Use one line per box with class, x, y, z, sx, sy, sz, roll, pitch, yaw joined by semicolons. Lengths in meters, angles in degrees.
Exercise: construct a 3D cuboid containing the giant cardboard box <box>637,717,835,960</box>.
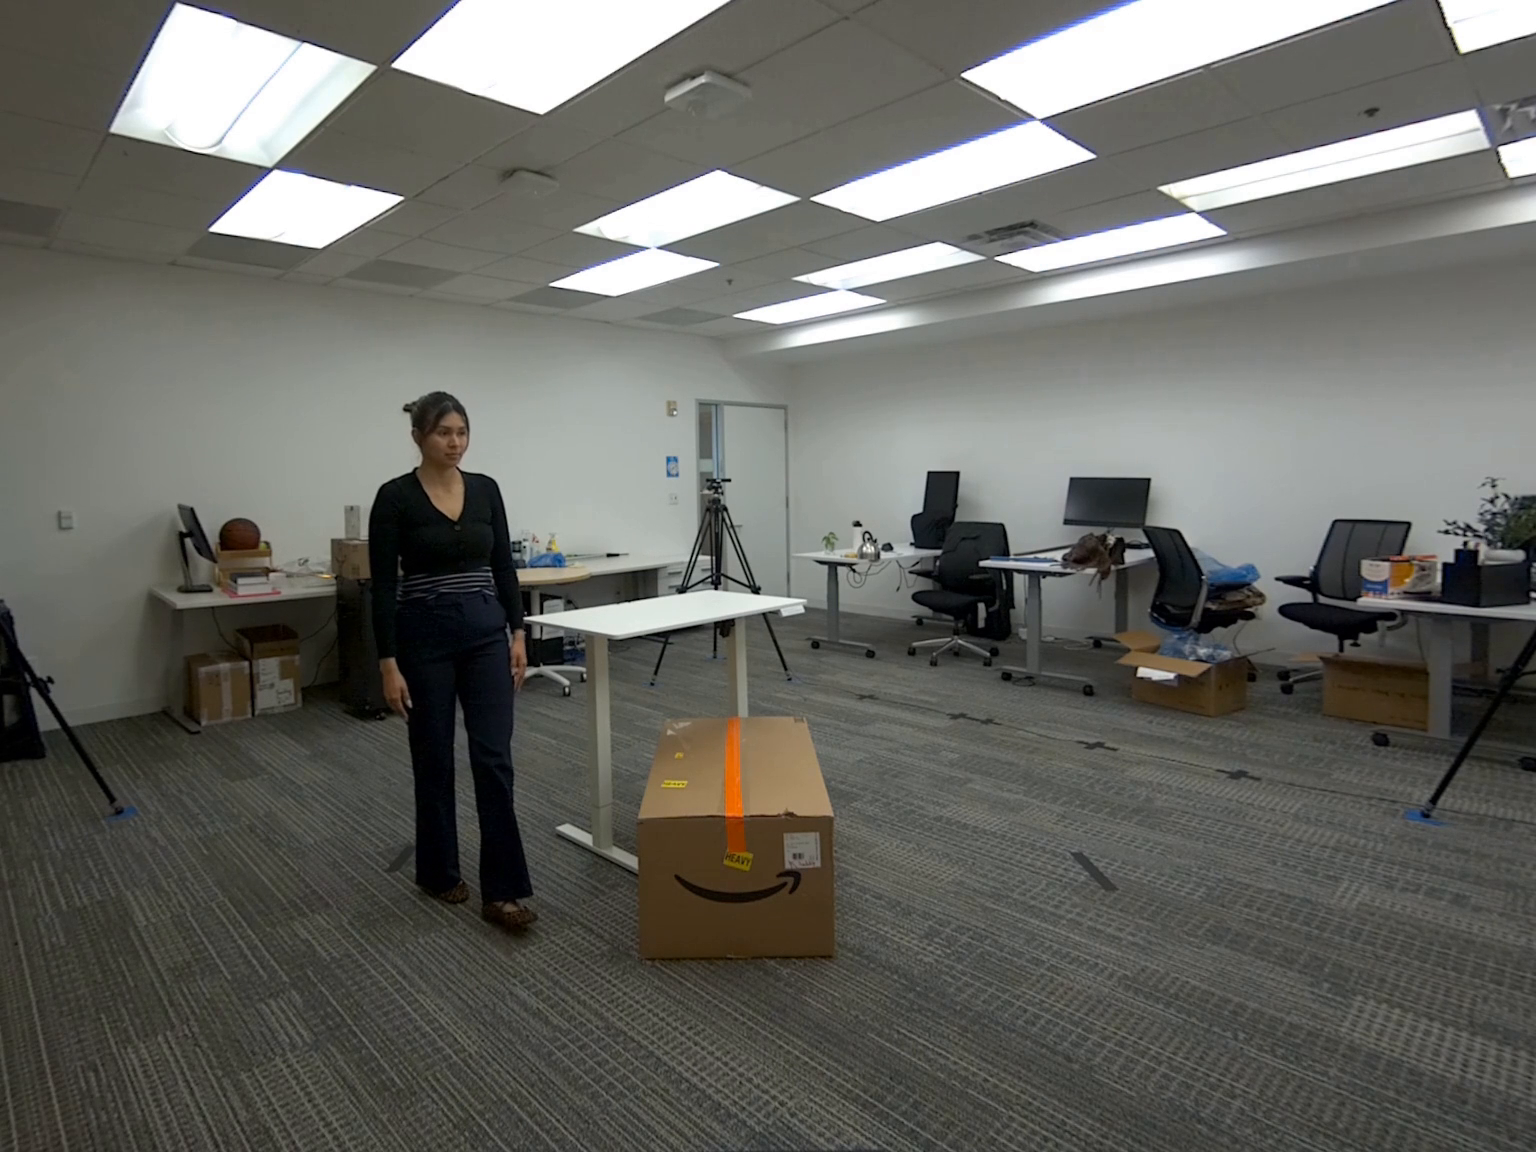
giant cardboard box;-0.107;0.845;2.985;0.577;0.424;1.032;-2;6;-2
